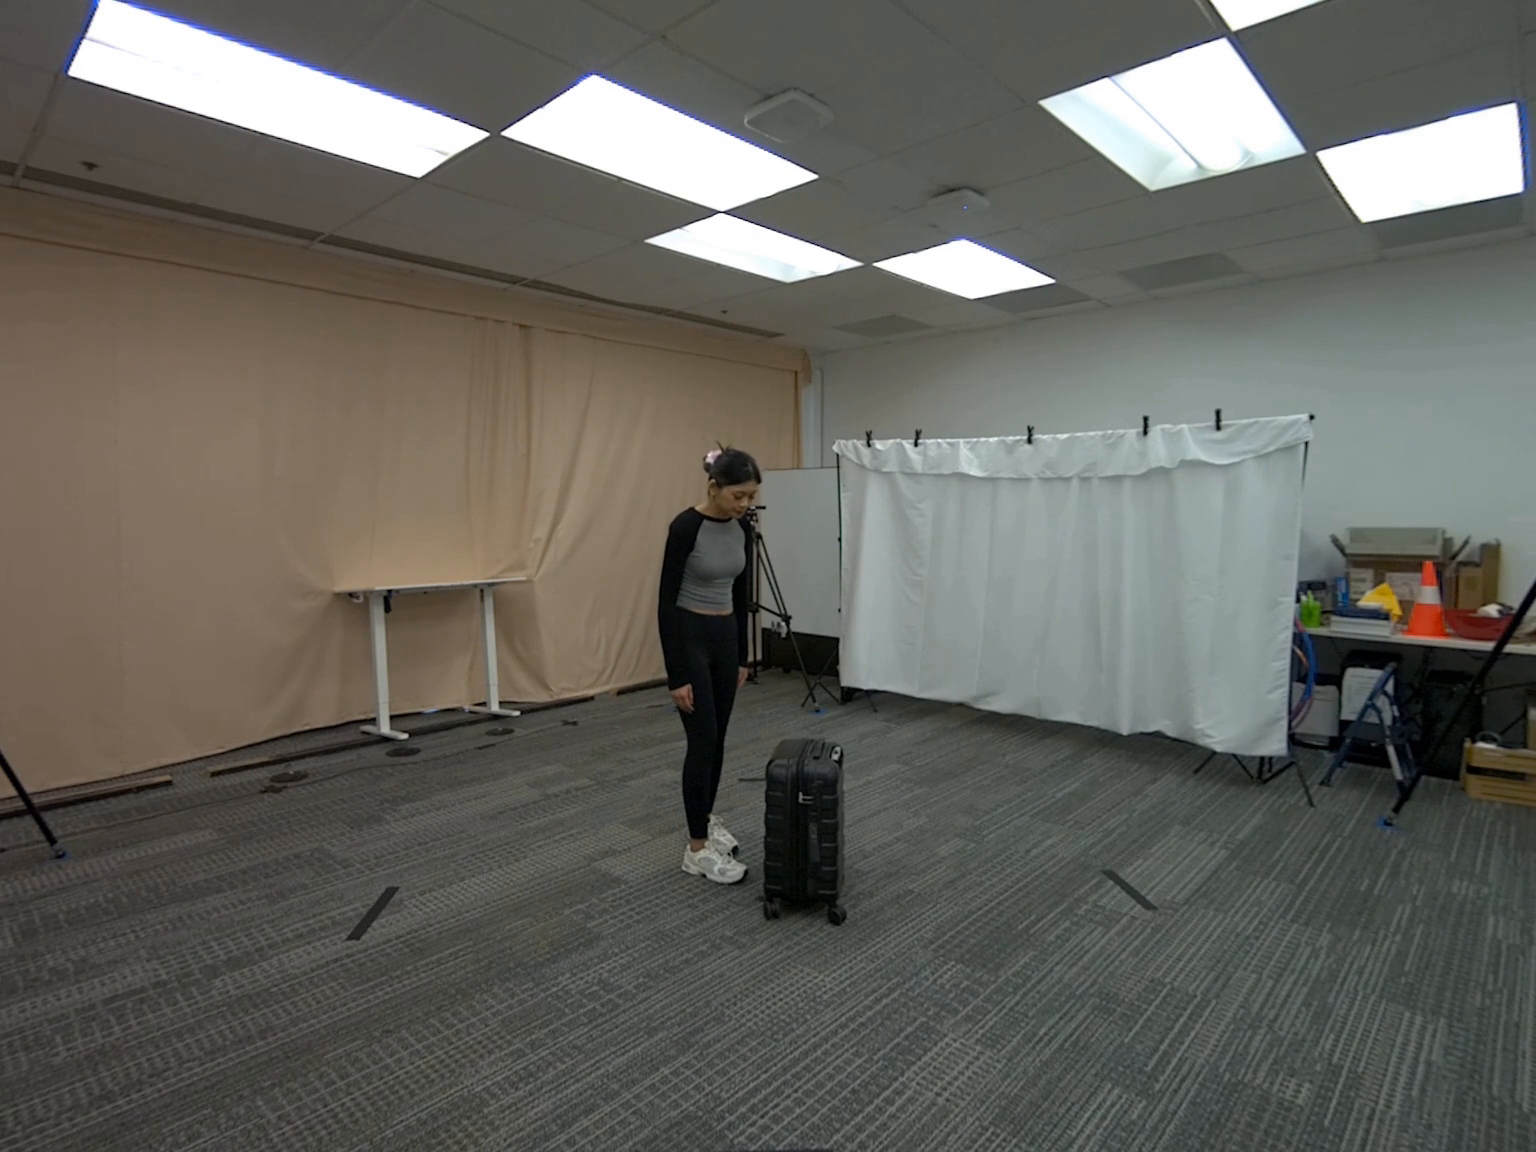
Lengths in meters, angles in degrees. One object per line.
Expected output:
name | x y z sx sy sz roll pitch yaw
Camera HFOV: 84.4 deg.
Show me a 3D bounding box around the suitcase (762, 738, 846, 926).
suitcase | 0.135 0.866 2.966 0.252 0.548 0.371 0 4 12
